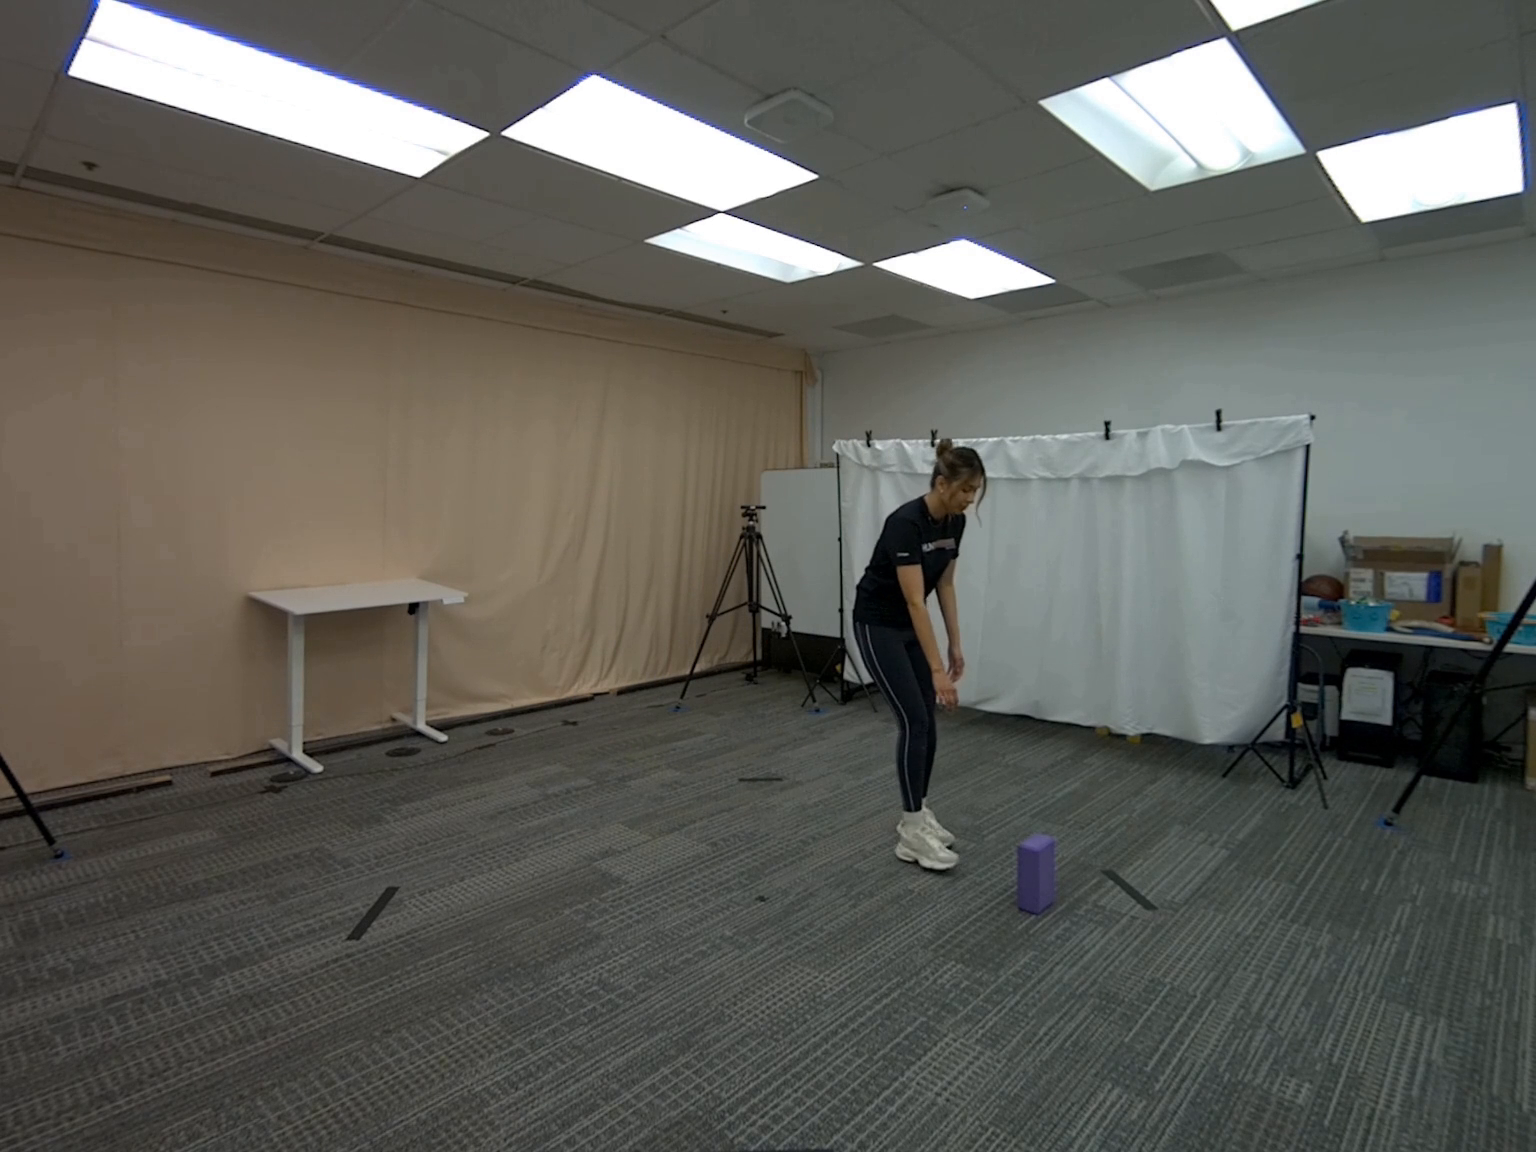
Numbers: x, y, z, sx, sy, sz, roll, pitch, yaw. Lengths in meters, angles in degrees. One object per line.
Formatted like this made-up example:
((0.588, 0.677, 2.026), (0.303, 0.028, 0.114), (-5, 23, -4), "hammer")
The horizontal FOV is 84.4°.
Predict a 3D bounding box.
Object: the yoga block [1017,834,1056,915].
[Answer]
((0.940, 1.030, 2.921), (0.079, 0.229, 0.144), (1, 3, 40), "yoga block")
